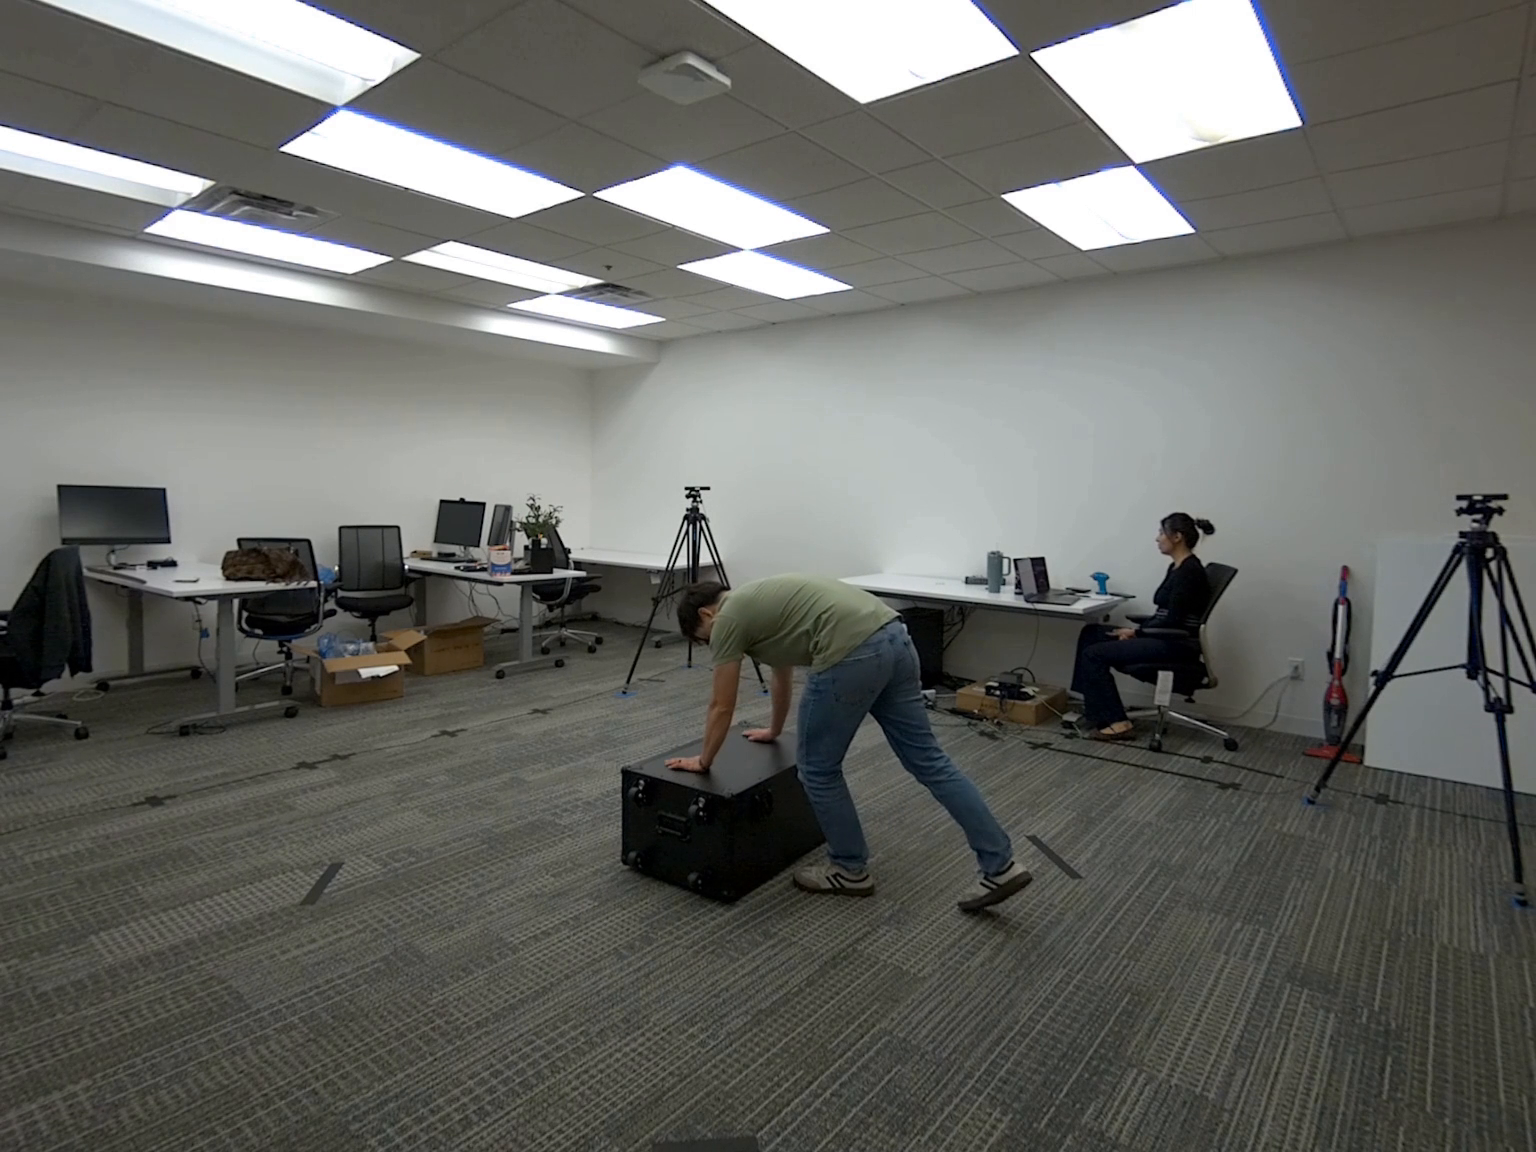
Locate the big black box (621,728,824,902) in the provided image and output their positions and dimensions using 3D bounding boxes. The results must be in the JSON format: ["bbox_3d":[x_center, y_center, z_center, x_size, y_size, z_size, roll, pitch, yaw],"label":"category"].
[{"bbox_3d":[-0.153,0.868,3.225,0.538,0.395,0.837,4,5,34],"label":"big black box"}]
